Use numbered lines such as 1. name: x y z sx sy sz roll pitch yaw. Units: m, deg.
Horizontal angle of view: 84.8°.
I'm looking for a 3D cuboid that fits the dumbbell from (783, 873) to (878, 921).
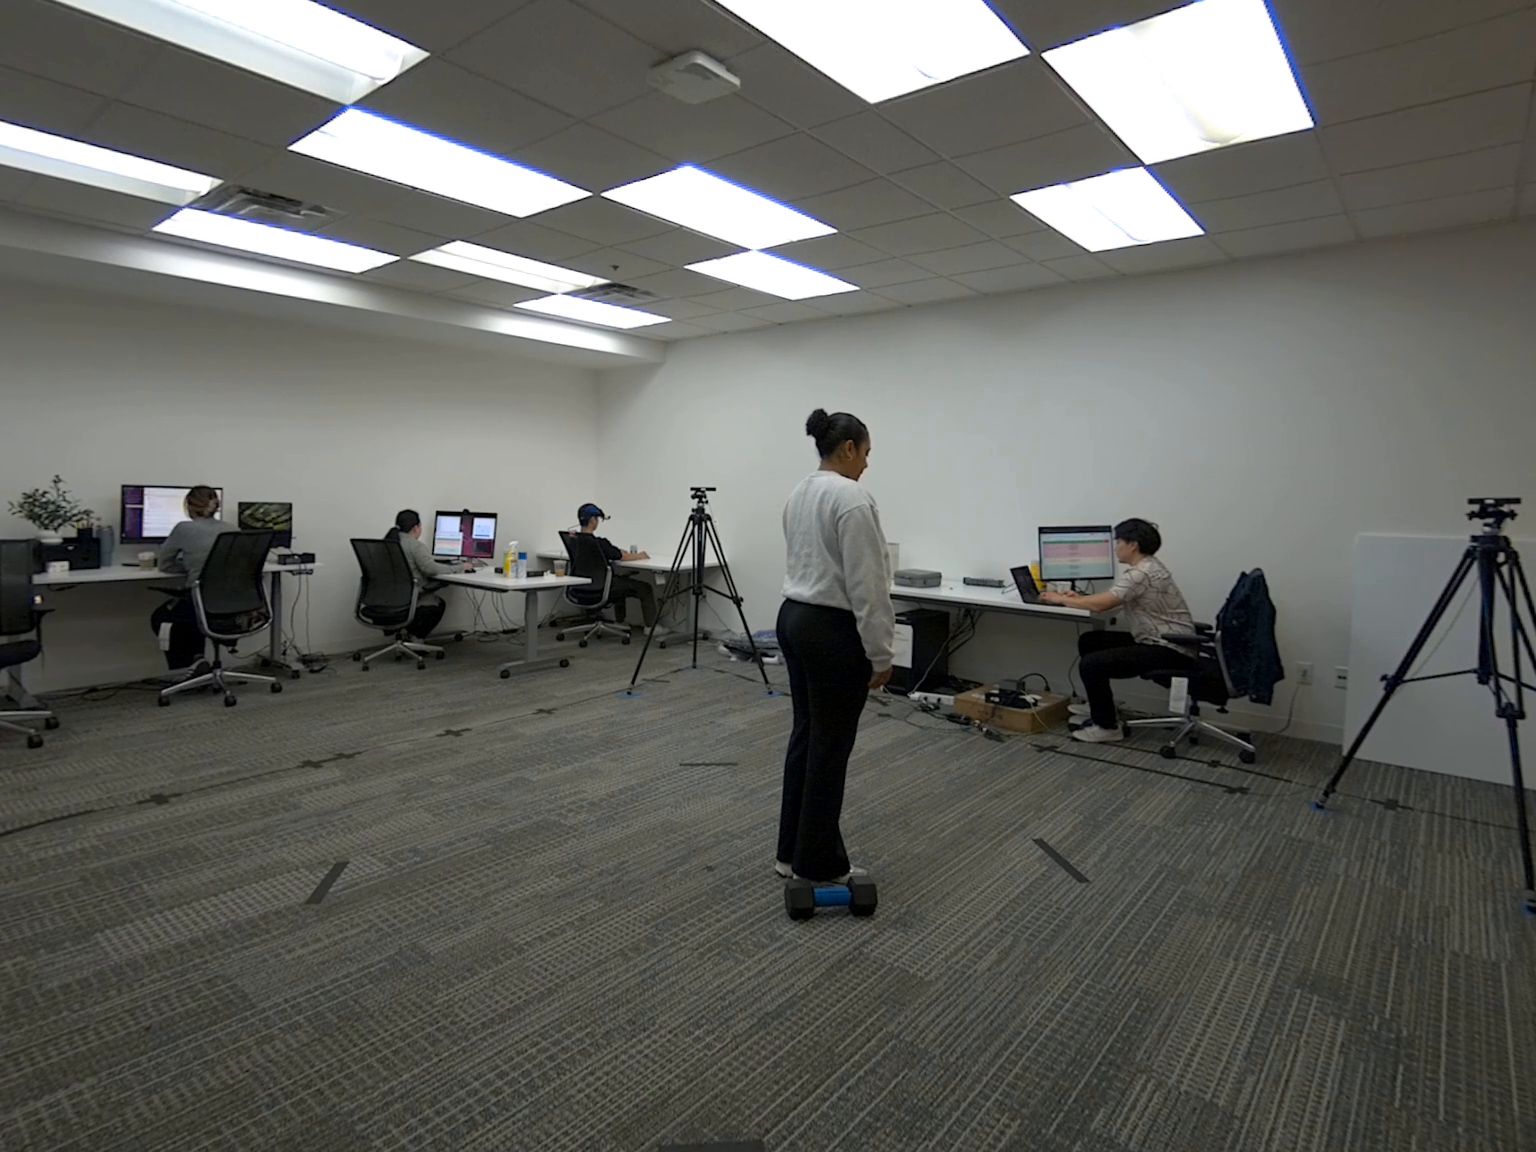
1. dumbbell: 0.201 1.050 2.800 0.290 0.126 0.107 0 -28 -11
